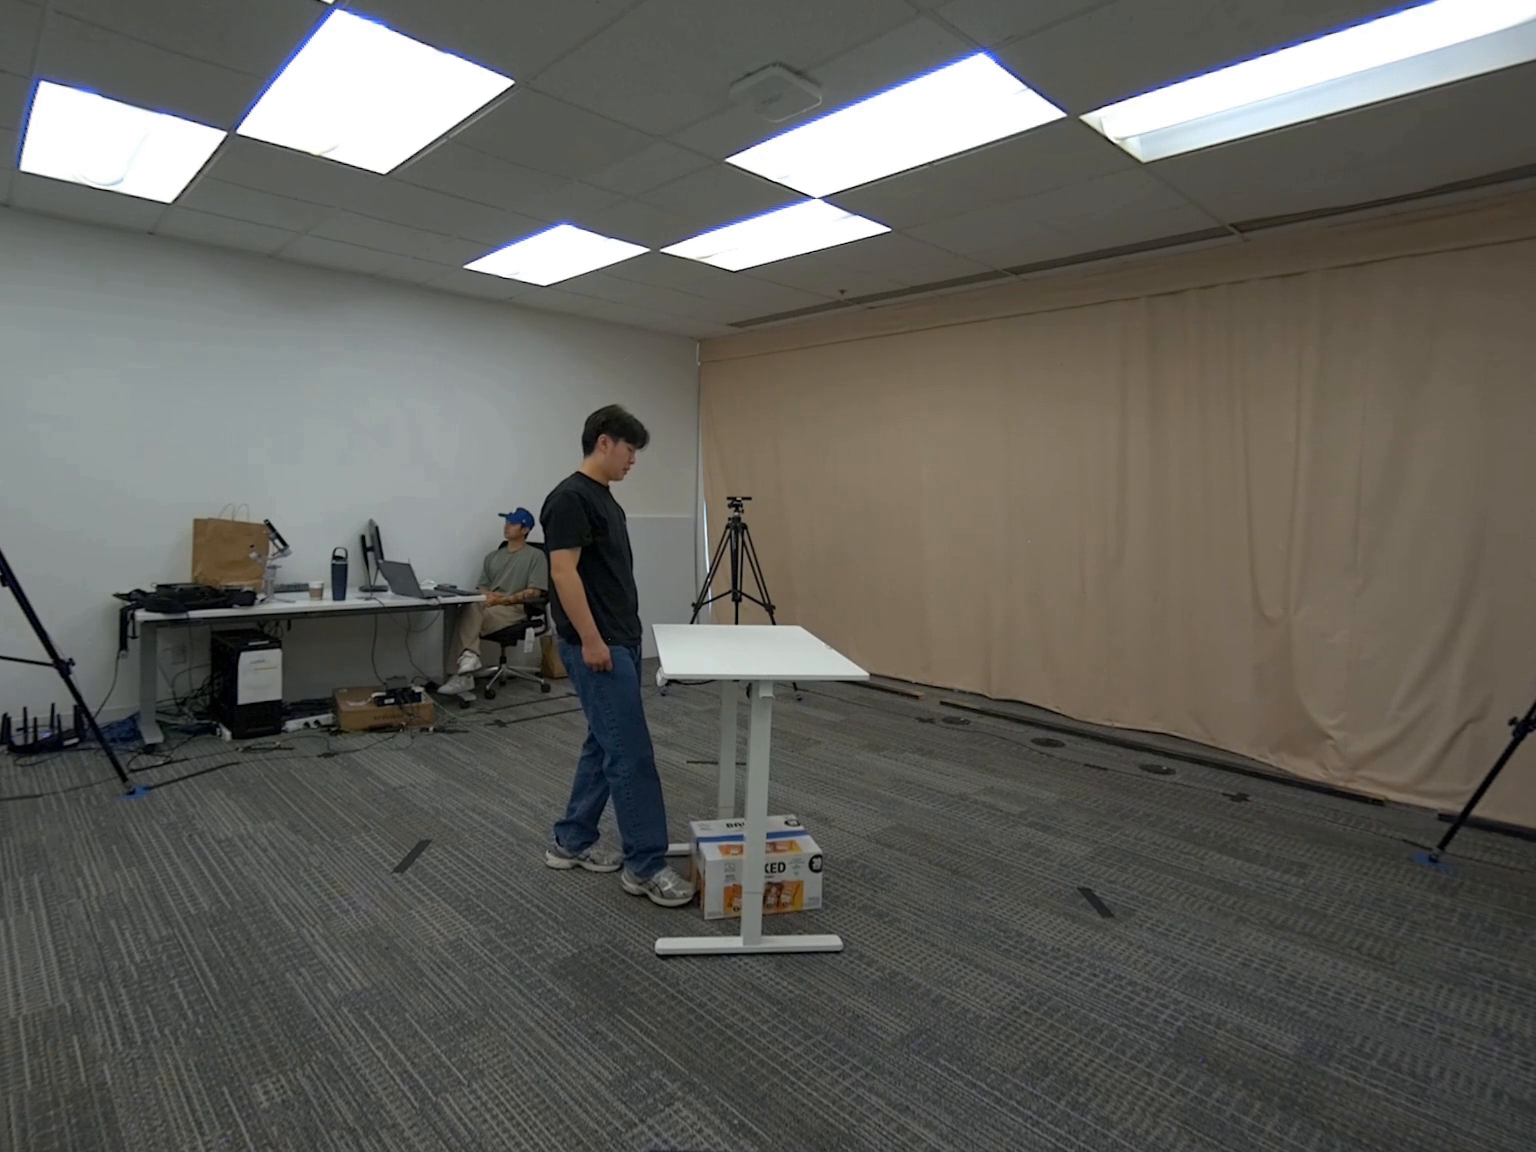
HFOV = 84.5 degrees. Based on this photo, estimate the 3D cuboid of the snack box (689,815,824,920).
[{"bbox_3d":[-0.057,1.020,2.970,0.401,0.205,0.345,0,5,-14],"label":"snack box"}]
